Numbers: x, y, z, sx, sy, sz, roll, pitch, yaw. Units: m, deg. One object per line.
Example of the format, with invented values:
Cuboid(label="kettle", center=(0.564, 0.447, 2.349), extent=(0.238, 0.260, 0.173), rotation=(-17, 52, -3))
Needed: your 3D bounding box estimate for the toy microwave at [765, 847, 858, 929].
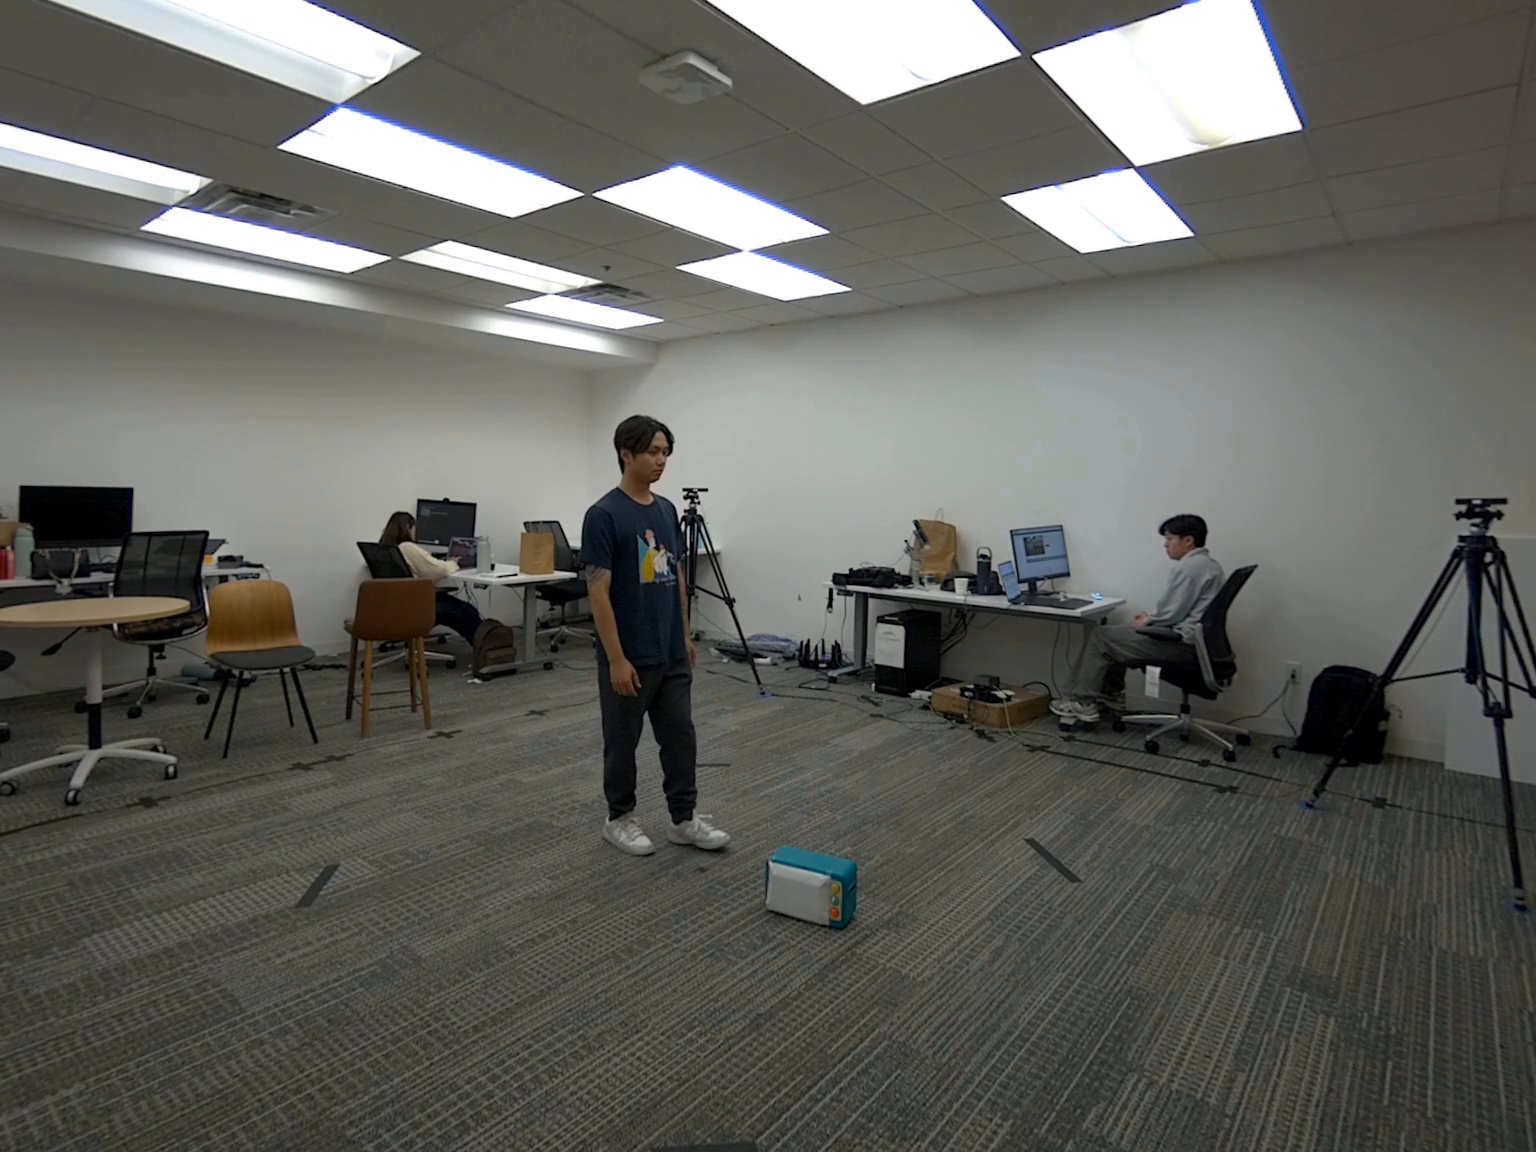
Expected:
Cuboid(label="toy microwave", center=(0.128, 1.015, 2.789), extent=(0.294, 0.183, 0.149), rotation=(5, 5, 25))
